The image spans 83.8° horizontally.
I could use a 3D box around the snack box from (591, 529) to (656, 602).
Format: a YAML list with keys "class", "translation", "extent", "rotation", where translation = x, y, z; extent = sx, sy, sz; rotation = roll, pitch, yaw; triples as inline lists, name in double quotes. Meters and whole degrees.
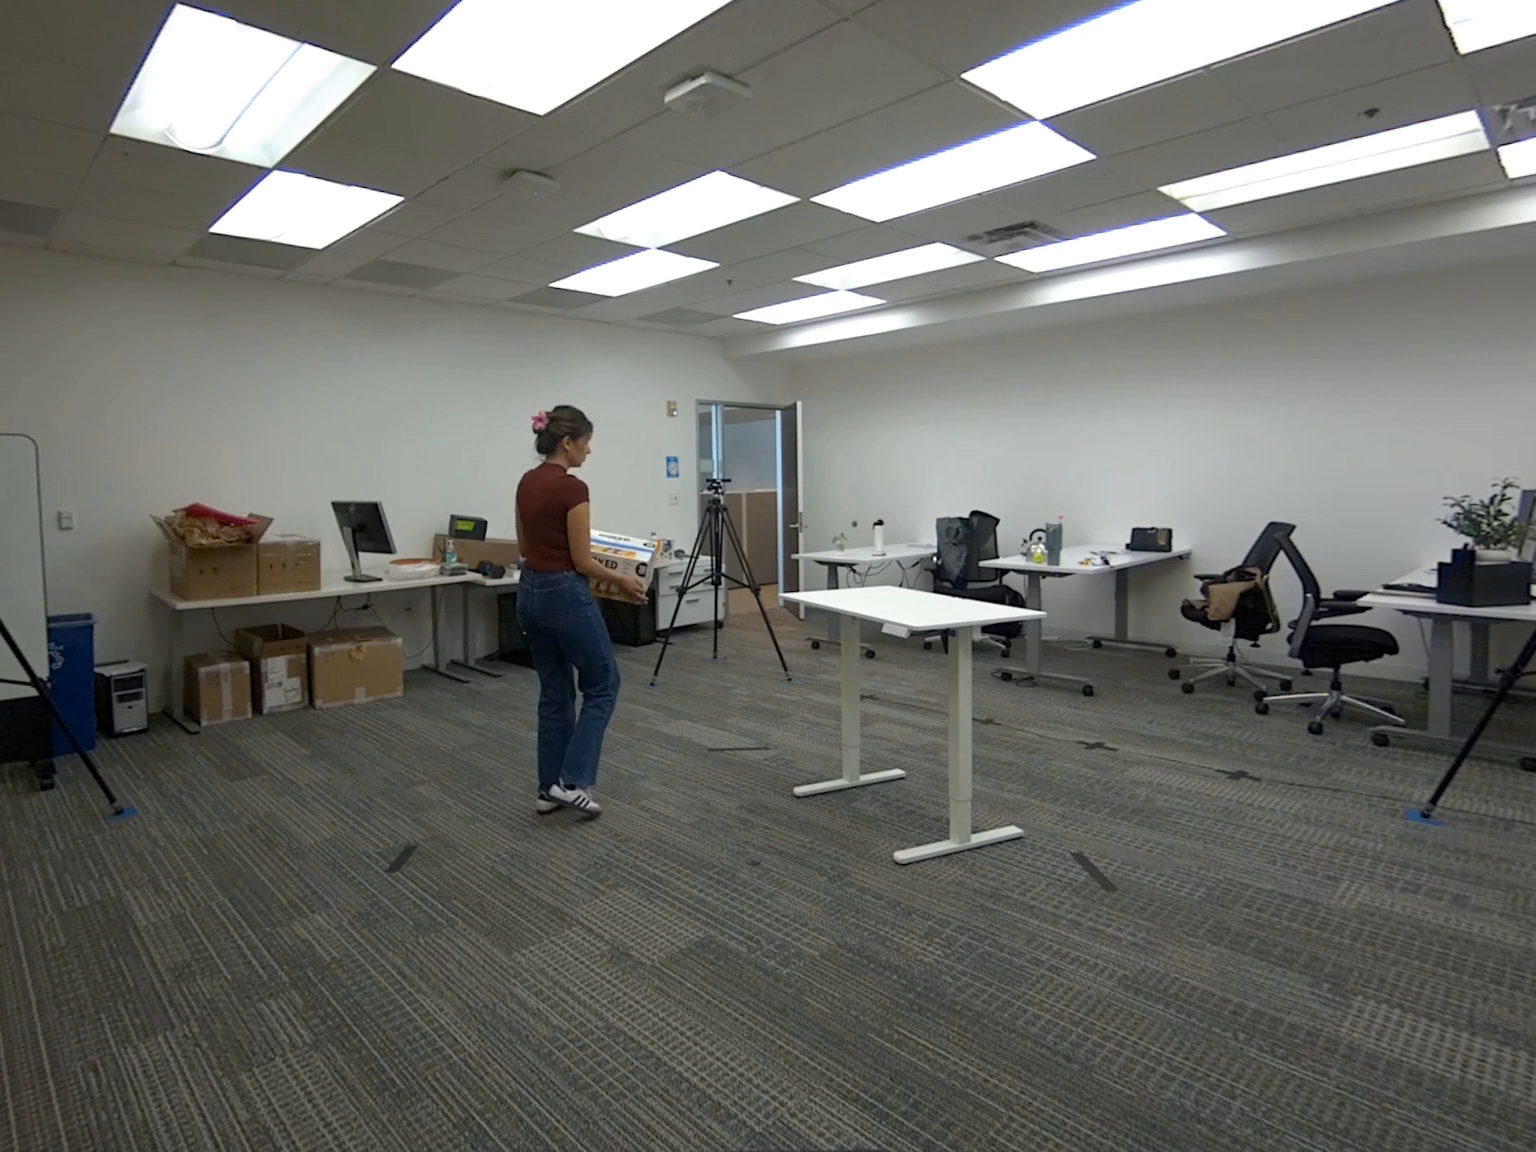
- class: "snack box"
  translation: [-0.729, -0.056, 3.872]
  extent: [0.405, 0.203, 0.344]
  rotation: [10, 16, -1]
